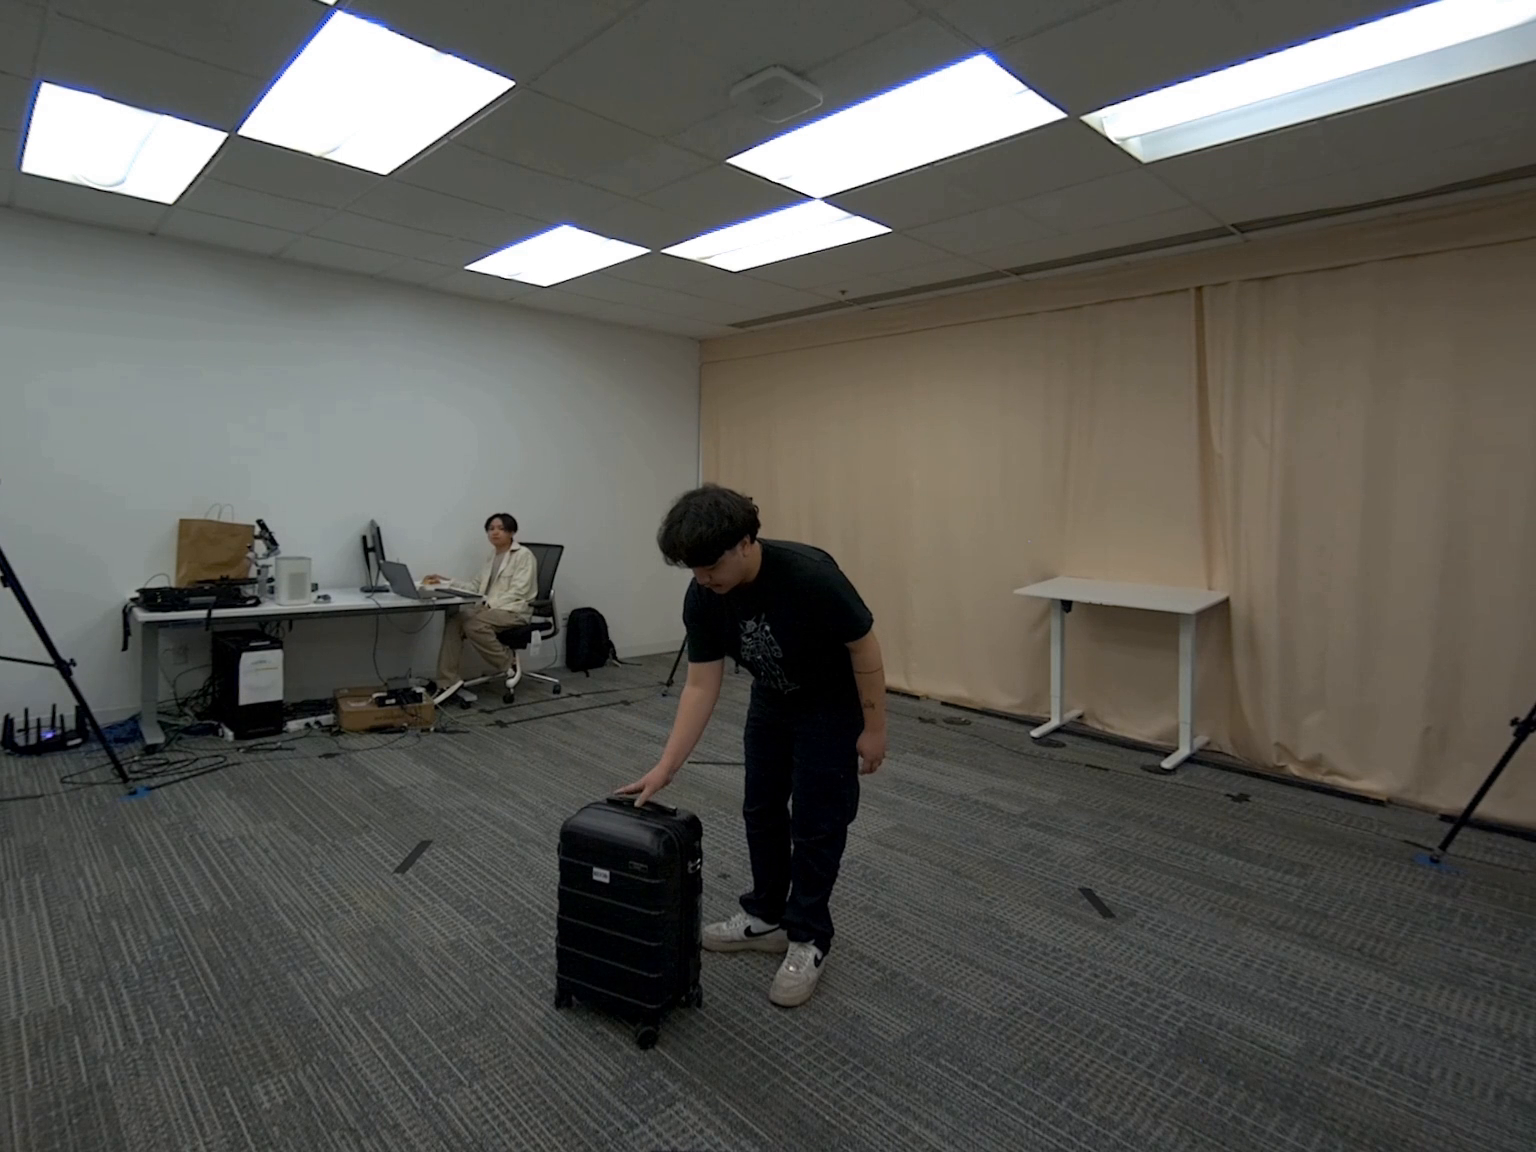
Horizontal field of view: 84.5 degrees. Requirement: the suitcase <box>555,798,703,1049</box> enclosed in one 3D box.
[{"bbox_3d":[-0.381,0.905,2.281,0.383,0.548,0.244,3,4,26],"label":"suitcase"}]
